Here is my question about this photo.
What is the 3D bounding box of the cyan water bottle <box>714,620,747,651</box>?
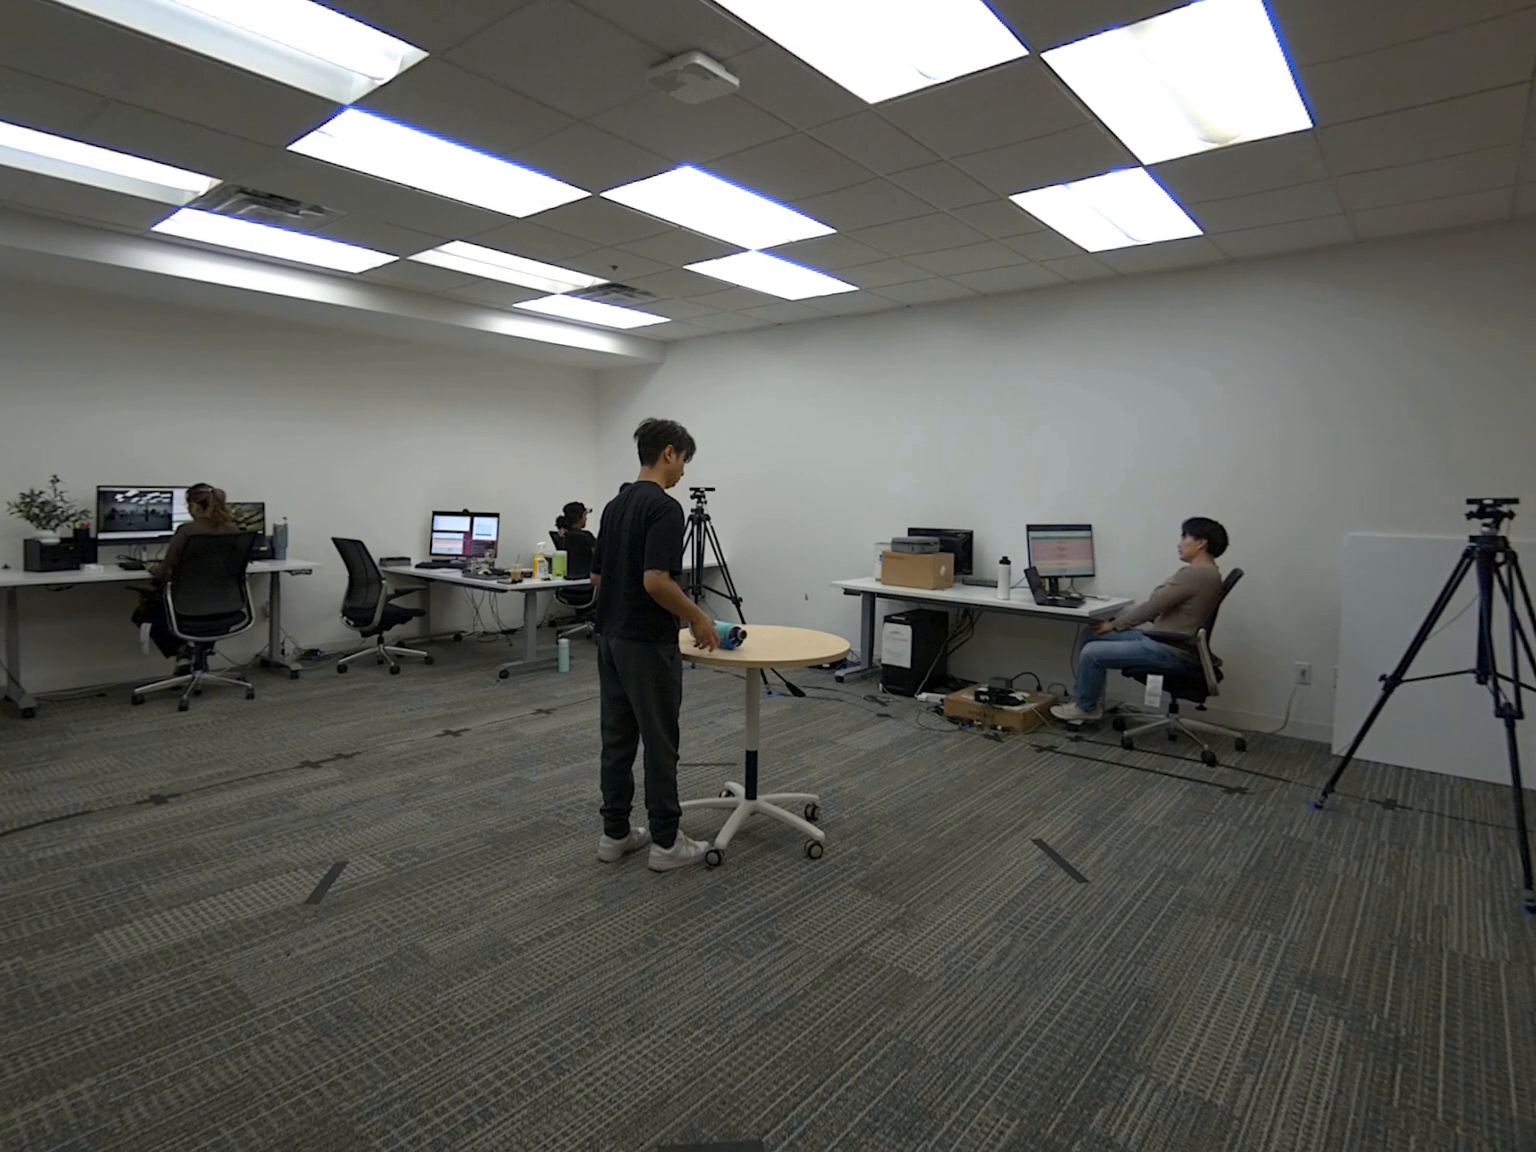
[{"bbox_3d":[-0.203,0.221,3.314,0.089,0.092,0.293,-2,6,-39],"label":"cyan water bottle"}]
